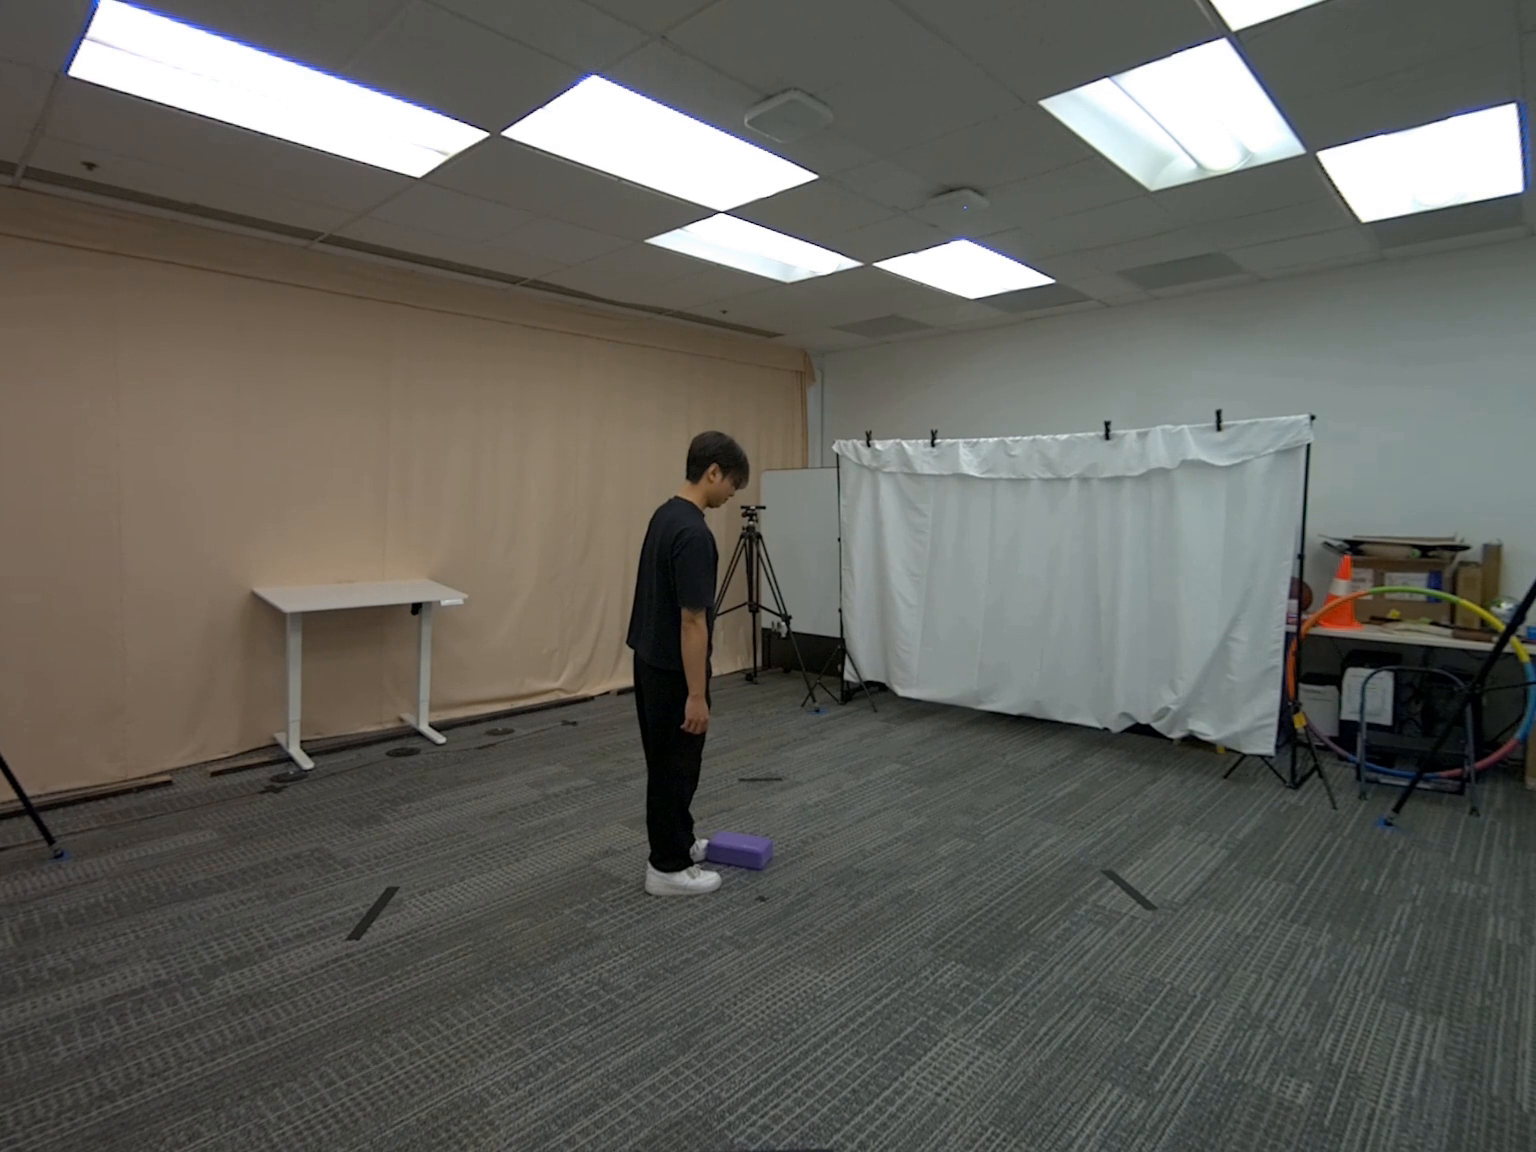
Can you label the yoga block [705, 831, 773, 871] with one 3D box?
[{"bbox_3d":[-0.109,1.075,3.304,0.234,0.076,0.146,2,5,21],"label":"yoga block"}]
